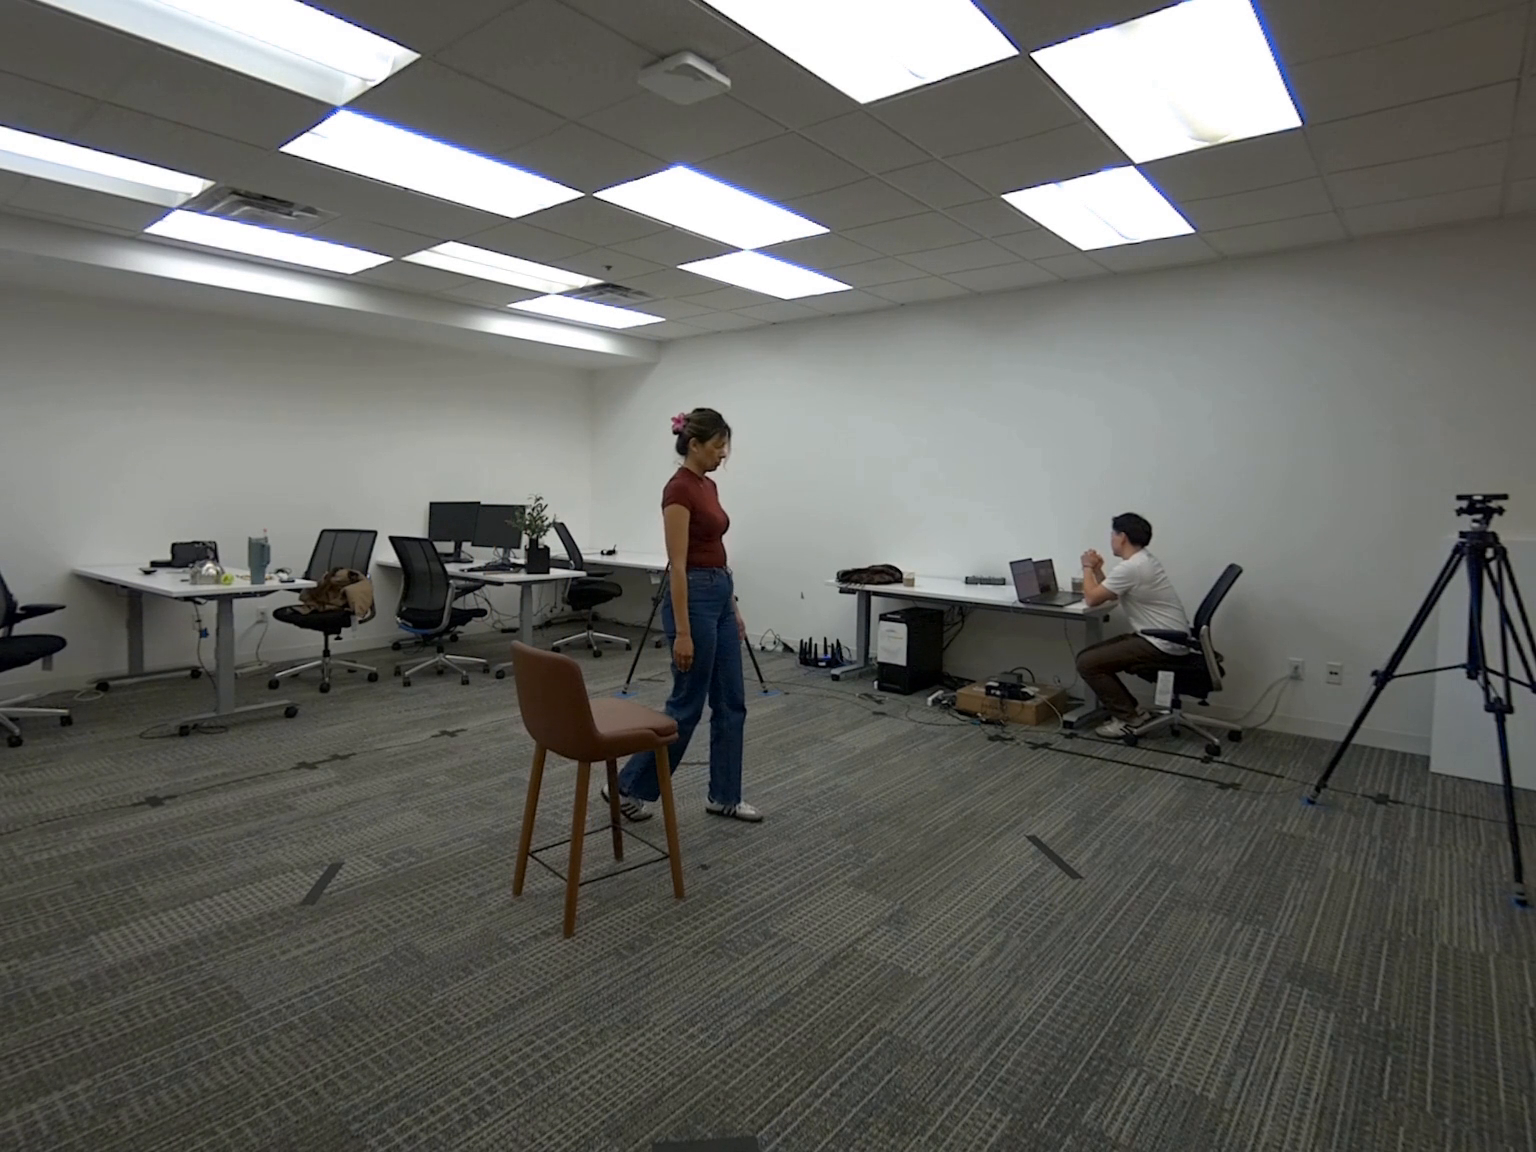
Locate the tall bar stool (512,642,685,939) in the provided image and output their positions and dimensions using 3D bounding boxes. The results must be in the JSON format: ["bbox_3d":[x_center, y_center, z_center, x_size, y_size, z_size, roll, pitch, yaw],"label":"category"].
[{"bbox_3d":[-0.593,0.649,2.867,0.454,0.886,0.472,-4,6,-42],"label":"tall bar stool"}]
